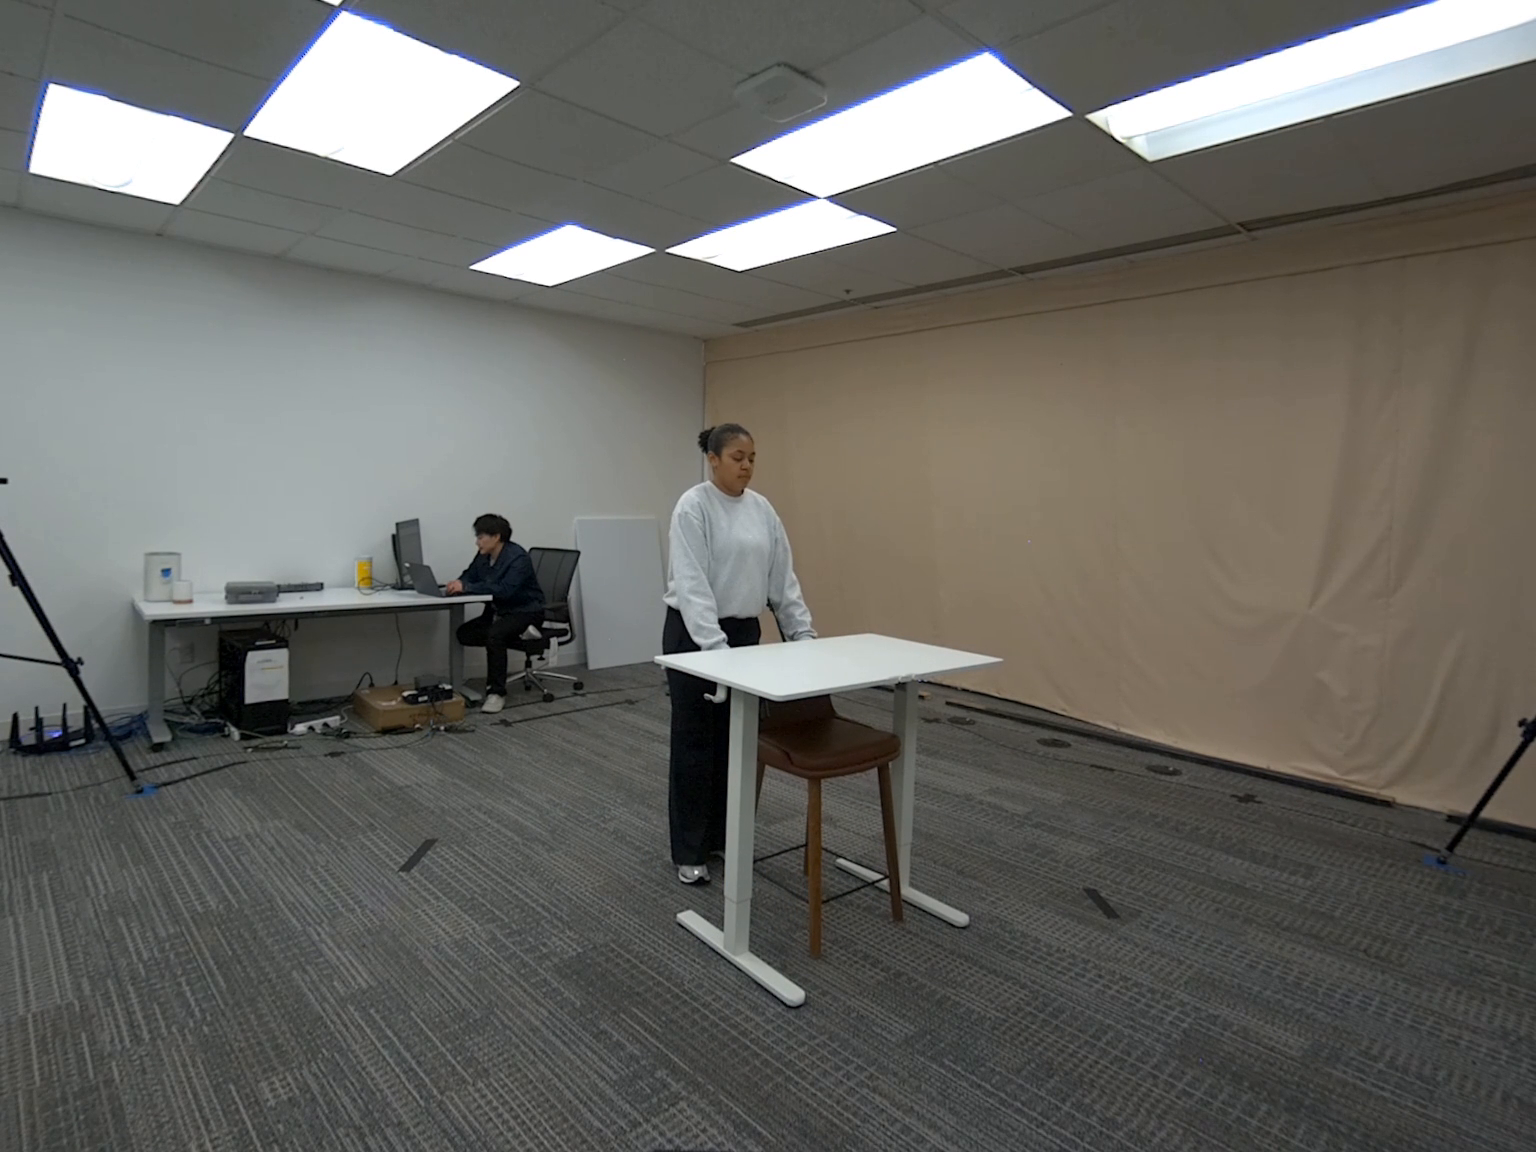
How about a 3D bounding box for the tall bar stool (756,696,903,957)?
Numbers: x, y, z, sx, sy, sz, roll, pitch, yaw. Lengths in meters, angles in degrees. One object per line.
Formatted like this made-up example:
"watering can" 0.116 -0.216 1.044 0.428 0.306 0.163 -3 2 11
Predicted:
"tall bar stool" 0.151 0.705 2.836 0.446 0.889 0.479 -1 2 -39
